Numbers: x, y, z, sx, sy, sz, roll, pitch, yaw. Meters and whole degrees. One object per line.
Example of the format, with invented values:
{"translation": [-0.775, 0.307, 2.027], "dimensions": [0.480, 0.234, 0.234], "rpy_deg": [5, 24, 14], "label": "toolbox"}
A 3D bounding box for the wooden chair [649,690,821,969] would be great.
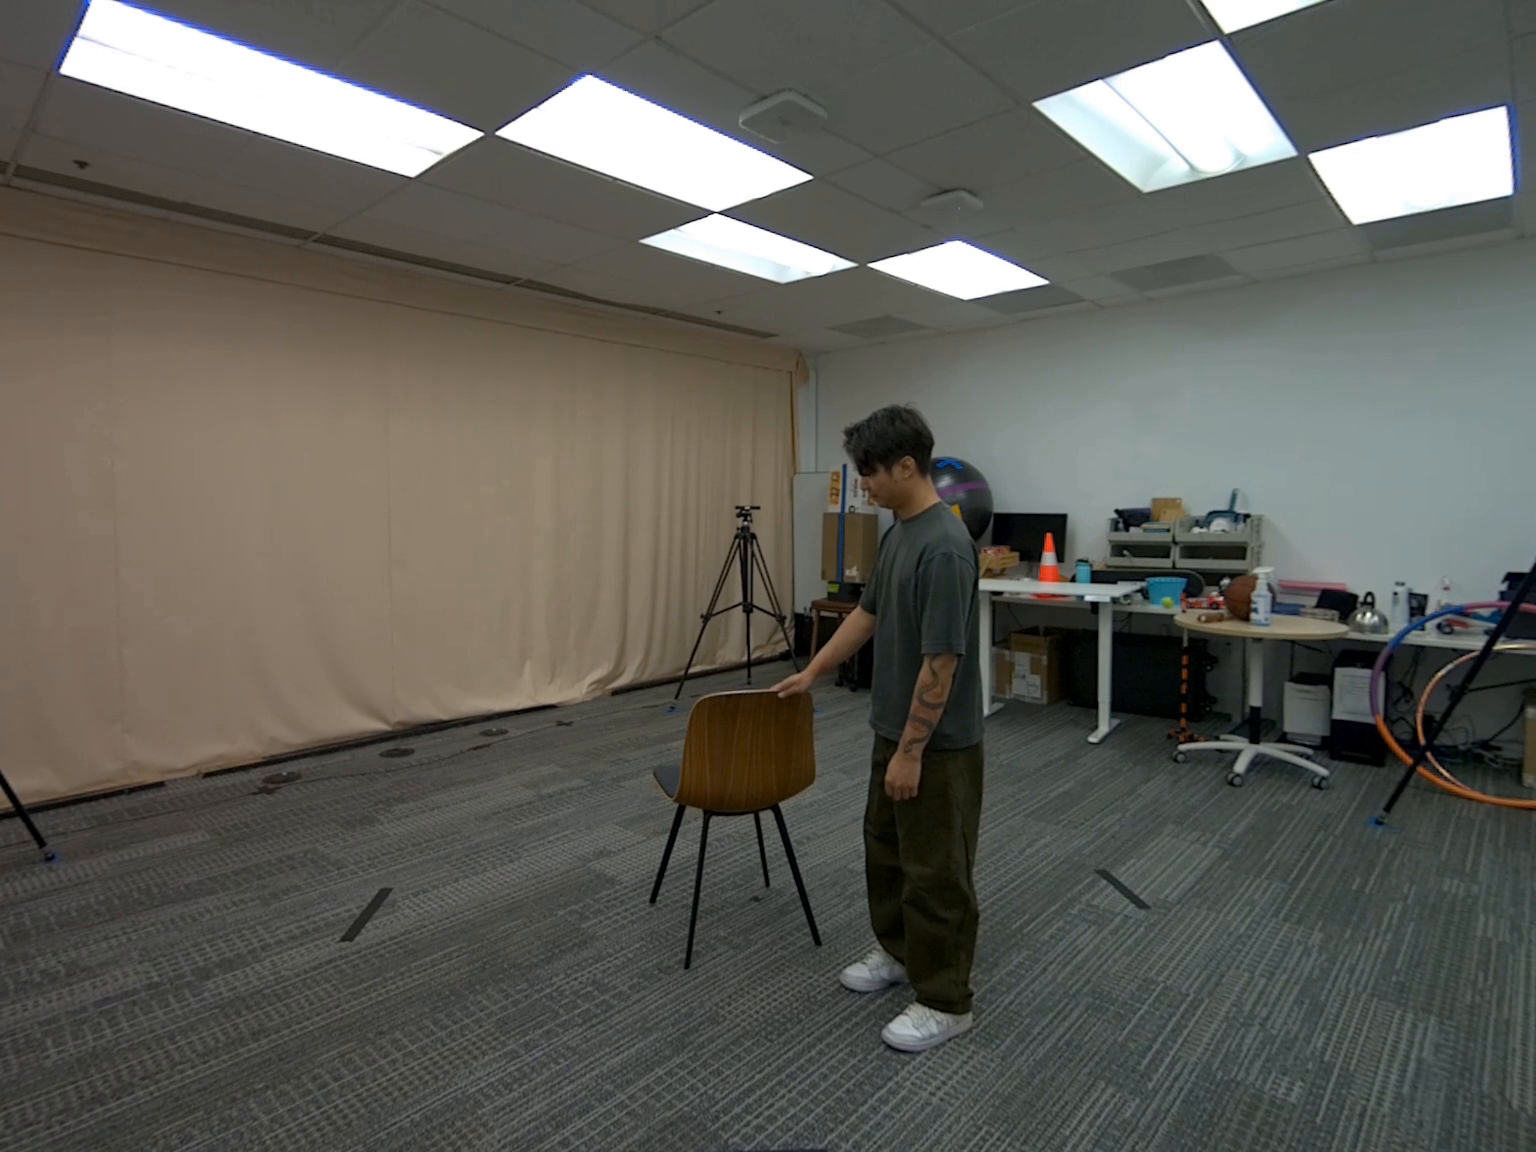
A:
{"translation": [-0.122, 0.735, 2.788], "dimensions": [0.469, 0.873, 0.536], "rpy_deg": [-2, 8, -20], "label": "wooden chair"}
